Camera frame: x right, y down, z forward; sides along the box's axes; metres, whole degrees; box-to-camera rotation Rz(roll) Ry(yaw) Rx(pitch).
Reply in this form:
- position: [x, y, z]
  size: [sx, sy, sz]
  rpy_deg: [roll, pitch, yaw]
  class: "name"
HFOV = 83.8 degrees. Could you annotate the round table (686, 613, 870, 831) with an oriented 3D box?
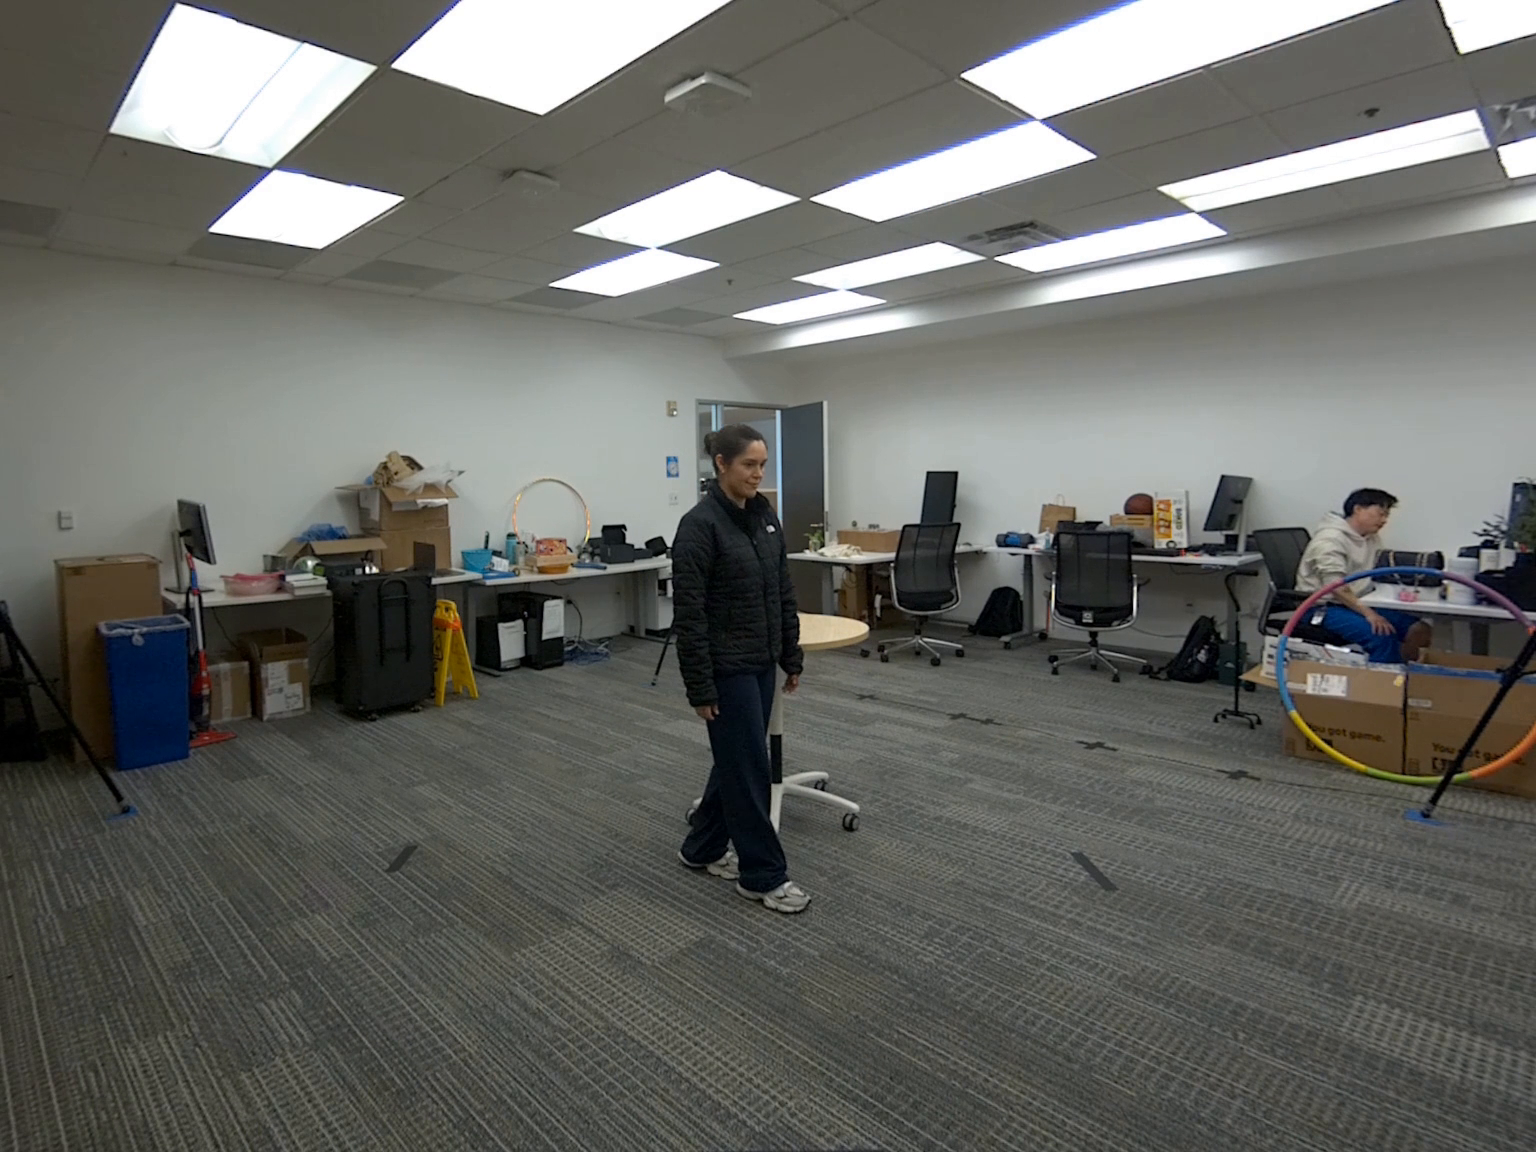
- position: [0.023, 0.603, 3.527]
  size: [0.784, 0.784, 0.788]
  rpy_deg: [-1, 4, -2]
  class: "round table"
